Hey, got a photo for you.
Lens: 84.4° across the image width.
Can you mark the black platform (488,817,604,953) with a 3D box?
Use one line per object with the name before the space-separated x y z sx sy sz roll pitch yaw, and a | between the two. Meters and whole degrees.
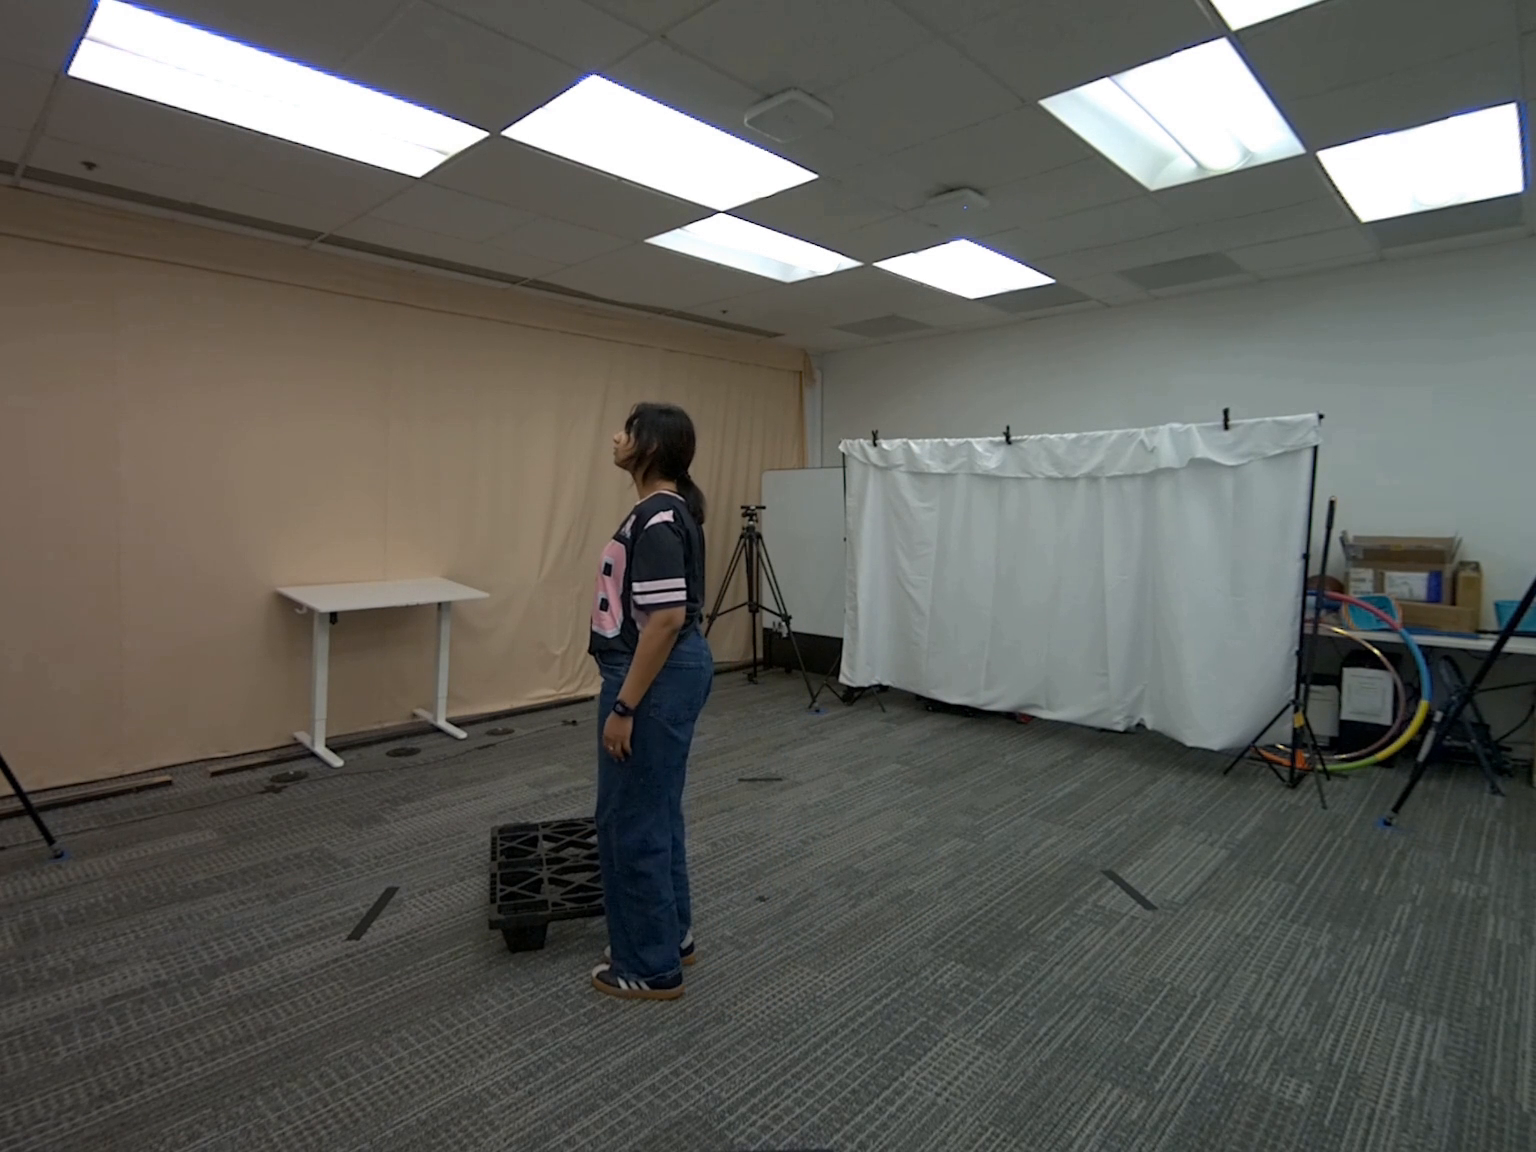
black platform | -0.691 1.076 3.037 0.595 0.143 0.821 -2 5 -16
